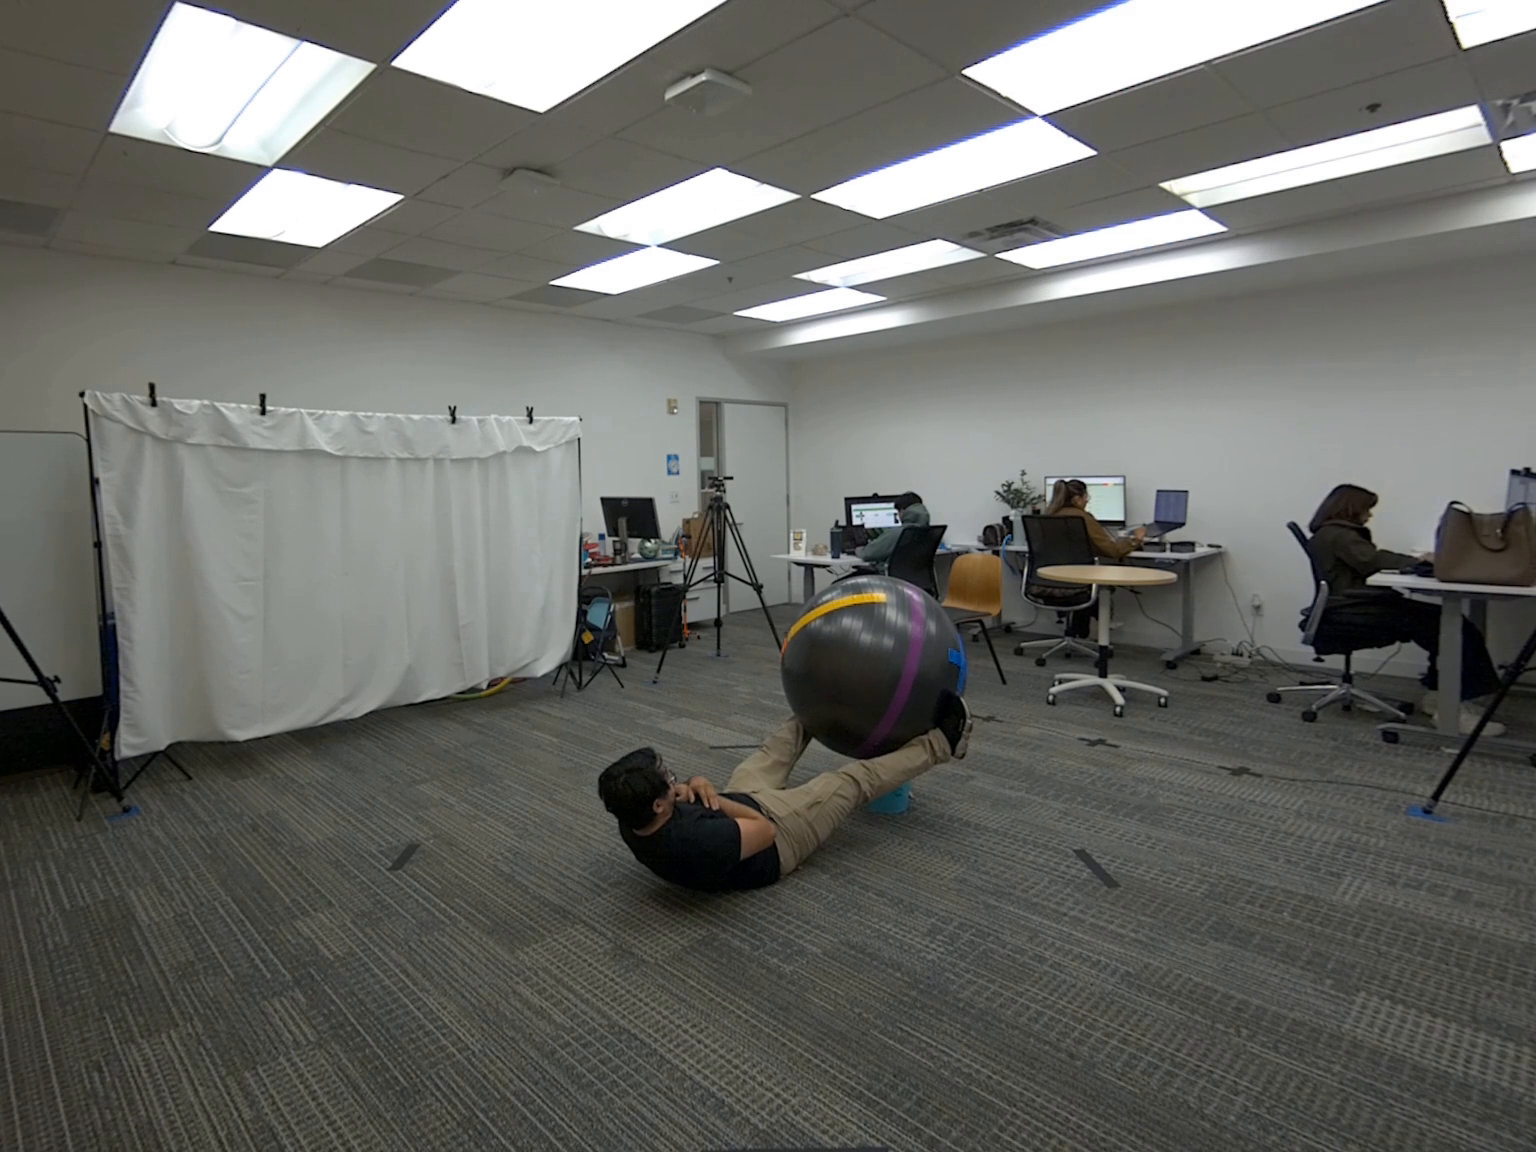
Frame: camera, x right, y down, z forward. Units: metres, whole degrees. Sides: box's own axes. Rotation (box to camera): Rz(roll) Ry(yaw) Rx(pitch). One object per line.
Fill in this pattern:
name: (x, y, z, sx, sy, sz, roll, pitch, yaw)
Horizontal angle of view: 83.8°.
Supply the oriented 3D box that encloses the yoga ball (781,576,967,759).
yoga ball: (0.437, 0.382, 3.546, 0.757, 0.755, 0.762, -1, 5, -2)
